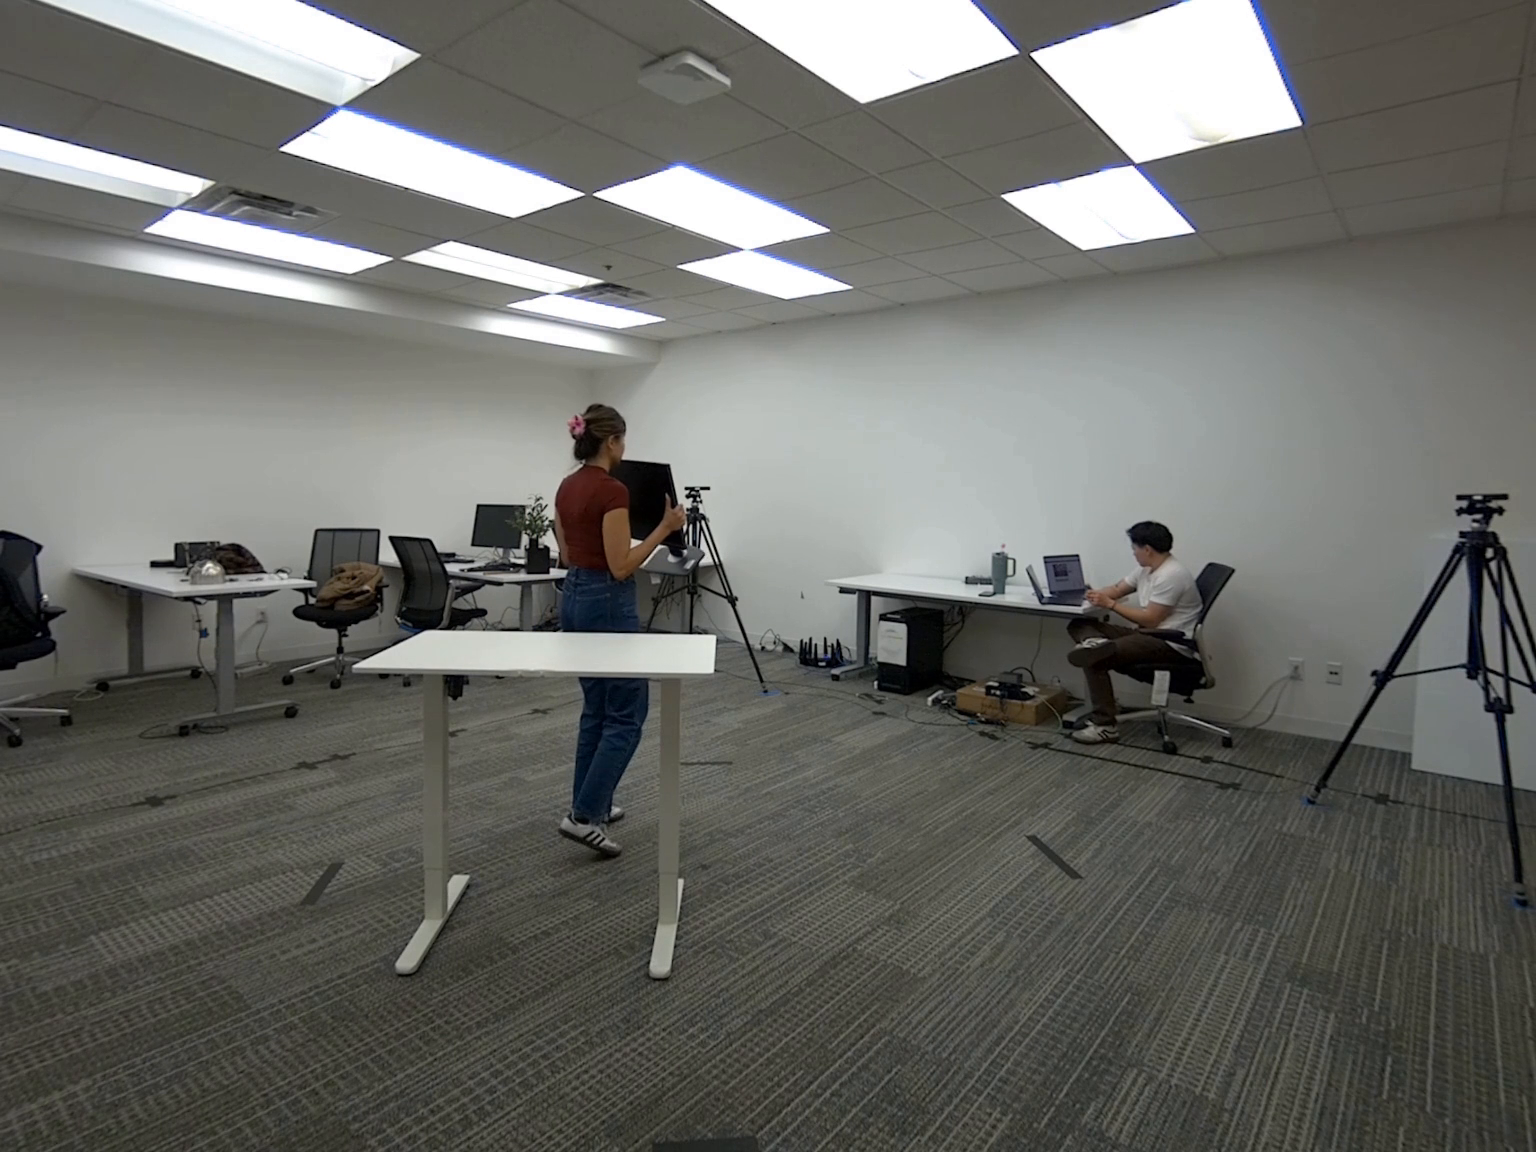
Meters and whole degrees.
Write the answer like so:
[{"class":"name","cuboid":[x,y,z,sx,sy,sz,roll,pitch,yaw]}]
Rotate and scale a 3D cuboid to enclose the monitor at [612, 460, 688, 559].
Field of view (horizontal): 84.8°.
[{"class":"monitor","cuboid":[-0.501,-0.251,3.513,0.558,0.506,0.186,8,42,42]}]
